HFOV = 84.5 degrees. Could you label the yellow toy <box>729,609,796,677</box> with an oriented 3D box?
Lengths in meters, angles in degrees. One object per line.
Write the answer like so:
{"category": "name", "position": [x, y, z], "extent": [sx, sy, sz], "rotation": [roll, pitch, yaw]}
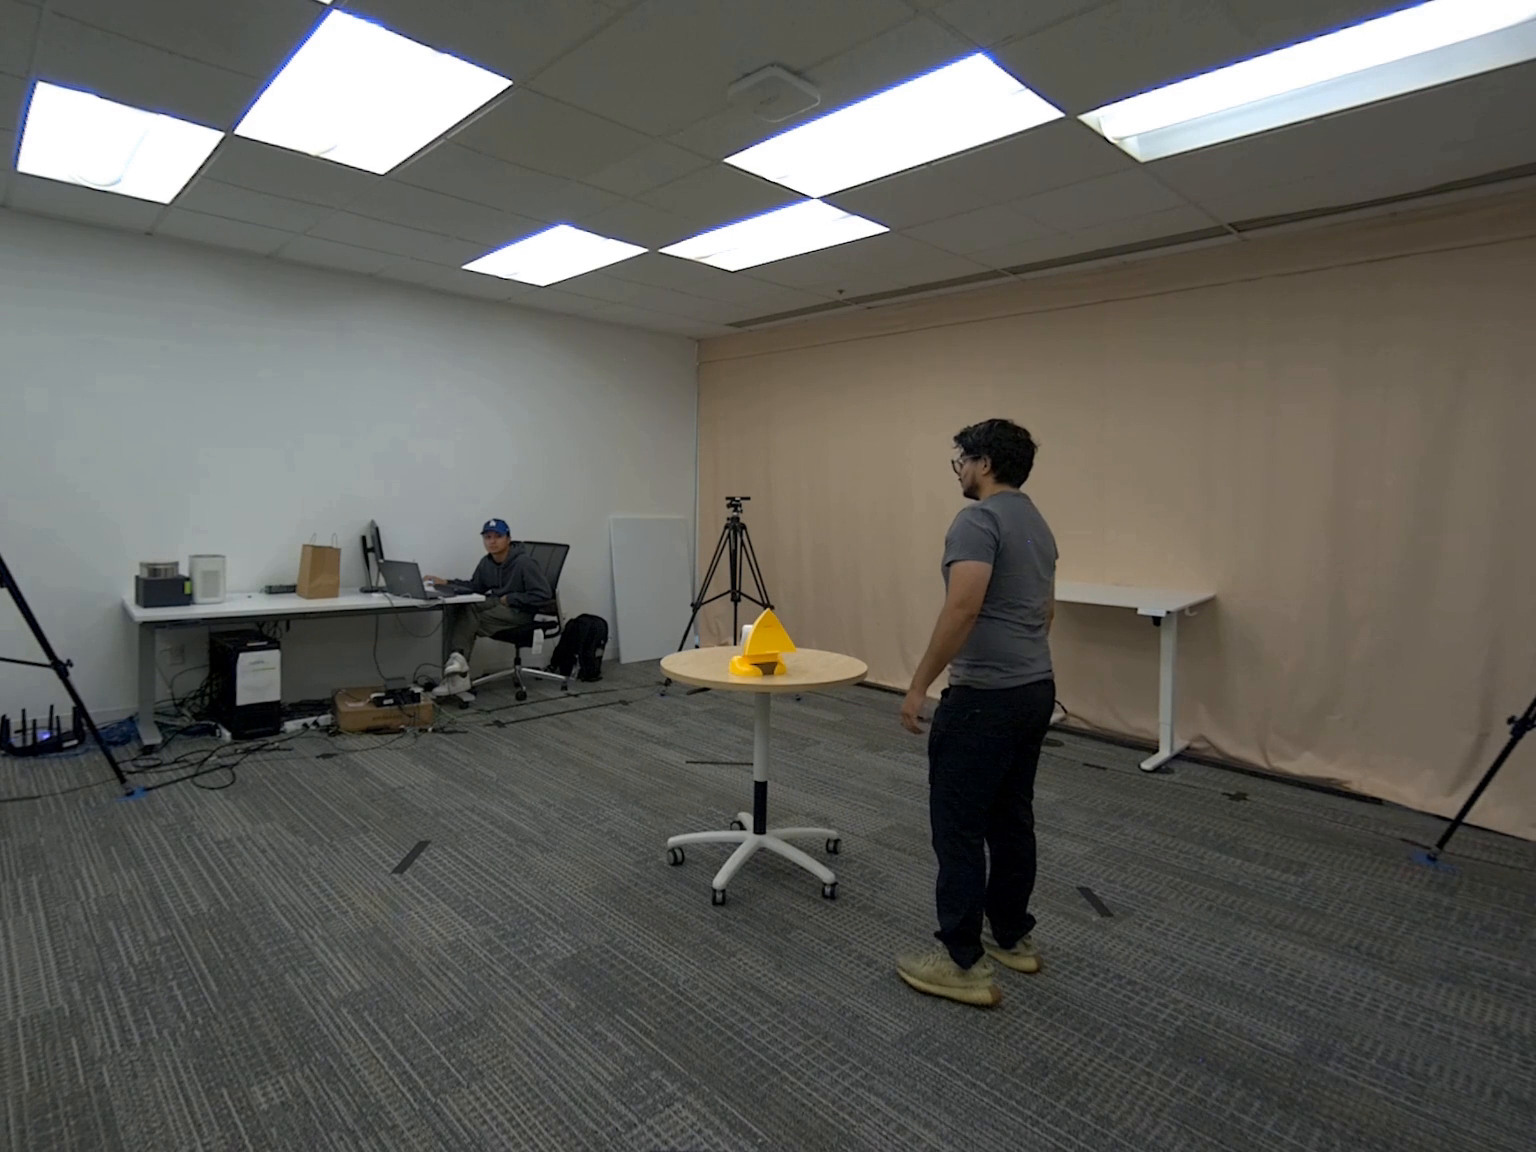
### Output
{"category": "yellow toy", "position": [-0.039, 0.223, 2.956], "extent": [0.201, 0.230, 0.197], "rotation": [-1, 4, -29]}
